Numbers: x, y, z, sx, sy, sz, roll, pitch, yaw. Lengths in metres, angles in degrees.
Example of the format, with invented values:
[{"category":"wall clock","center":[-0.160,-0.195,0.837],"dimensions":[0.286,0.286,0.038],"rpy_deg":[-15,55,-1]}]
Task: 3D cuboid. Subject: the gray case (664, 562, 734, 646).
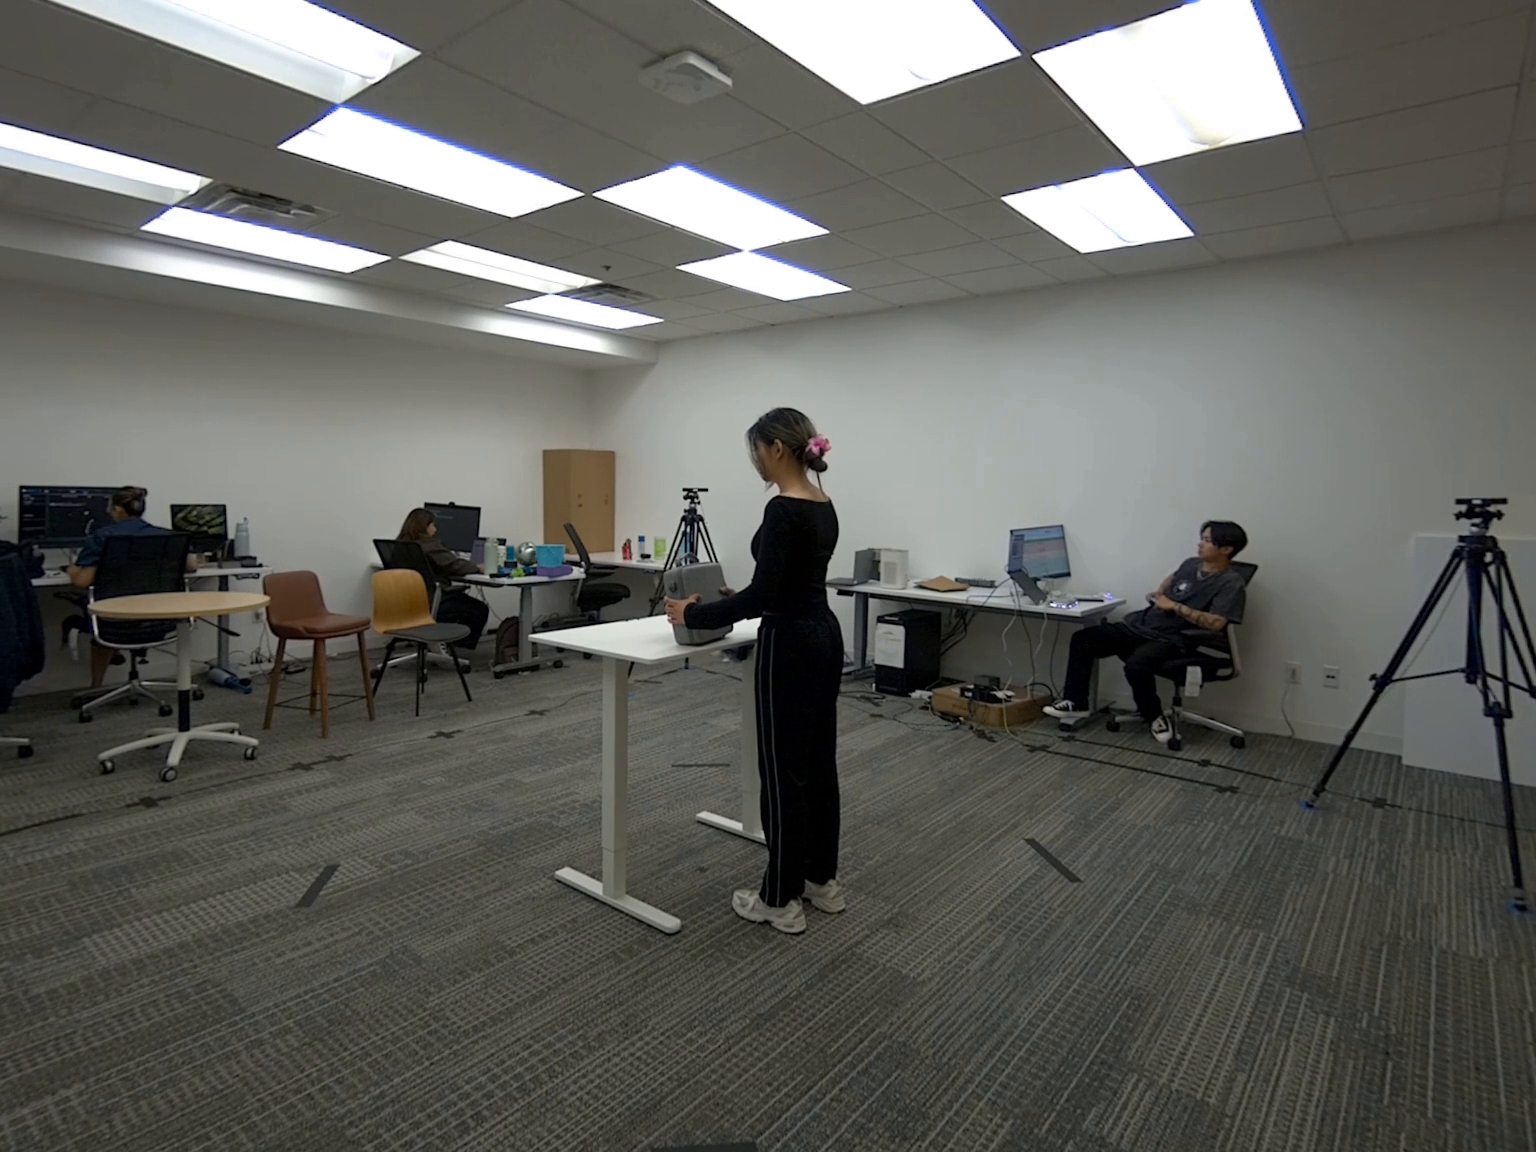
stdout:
[{"category":"gray case","center":[-0.242,0.083,2.842],"dimensions":[0.106,0.262,0.251],"rpy_deg":[-14,-3,27]}]
